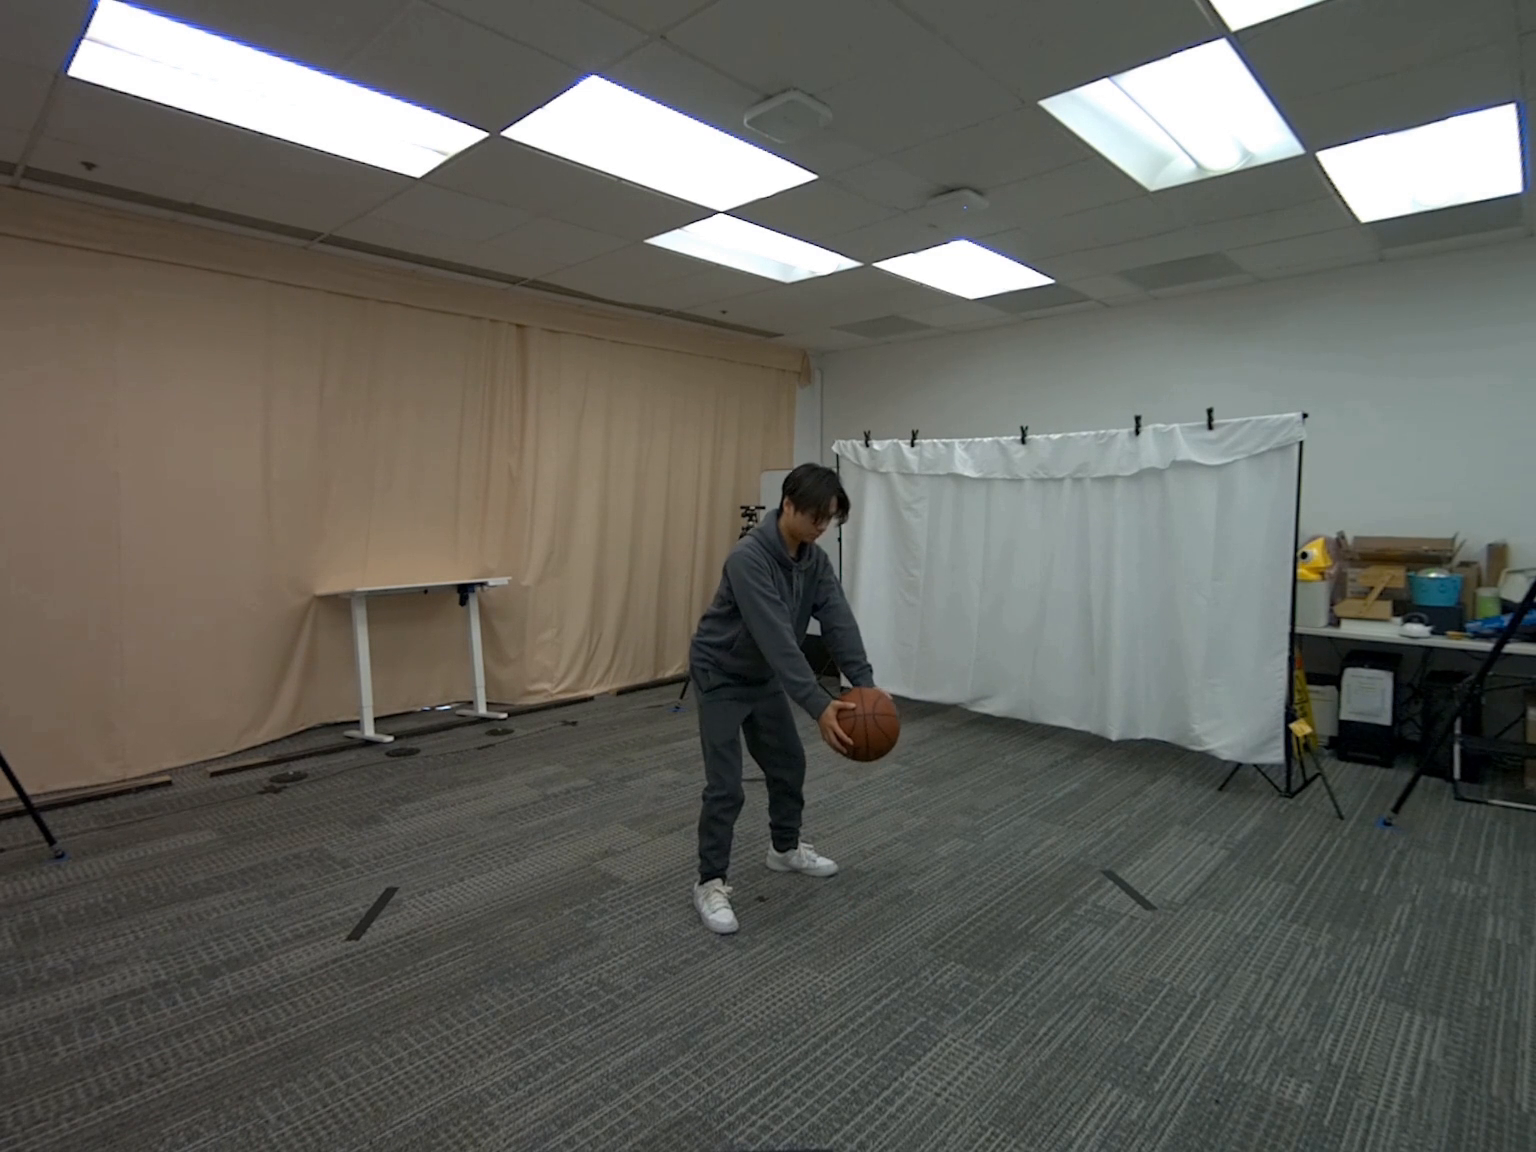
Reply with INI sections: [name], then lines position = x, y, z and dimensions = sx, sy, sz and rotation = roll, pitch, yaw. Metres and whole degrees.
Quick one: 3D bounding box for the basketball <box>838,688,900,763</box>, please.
[basketball]
position = 0.306, 0.482, 2.707
dimensions = 0.236, 0.235, 0.237
rotation = 0, 4, -2
